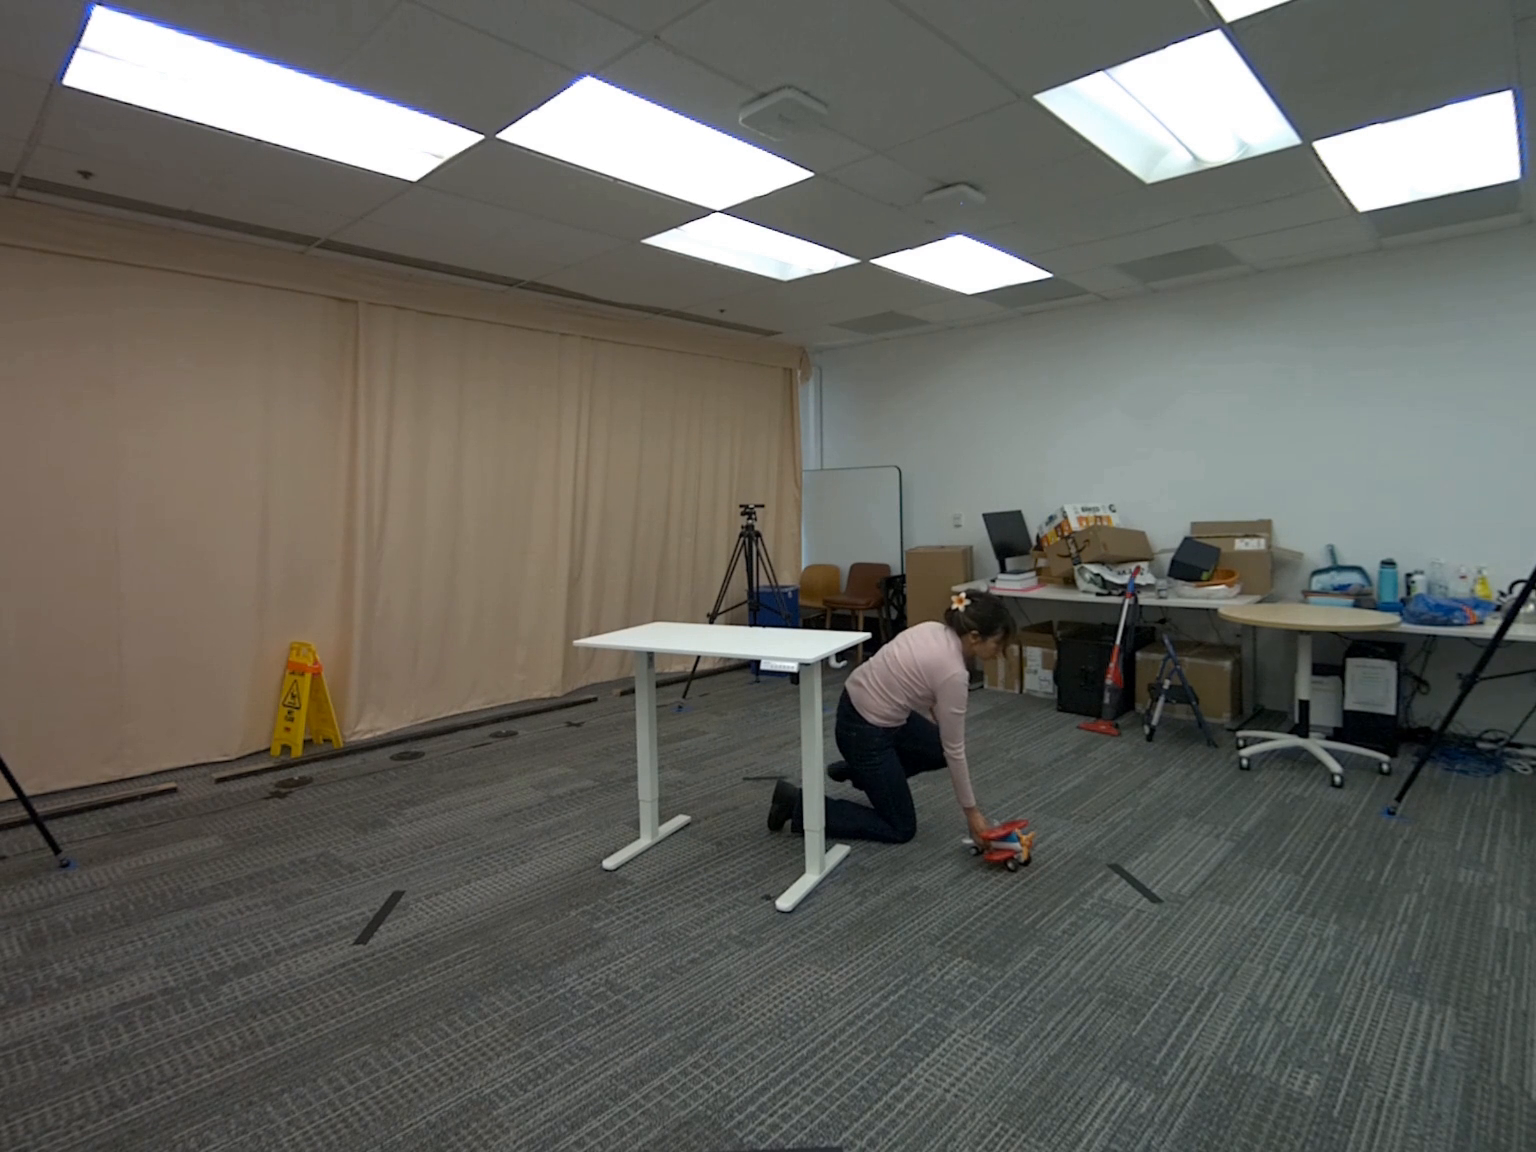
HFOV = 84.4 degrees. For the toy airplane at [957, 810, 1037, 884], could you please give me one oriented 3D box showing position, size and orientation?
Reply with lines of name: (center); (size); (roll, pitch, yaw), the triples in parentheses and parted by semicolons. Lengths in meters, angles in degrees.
toy airplane: (0.873, 1.021, 3.229); (0.265, 0.156, 0.246); (2, 4, 22)
